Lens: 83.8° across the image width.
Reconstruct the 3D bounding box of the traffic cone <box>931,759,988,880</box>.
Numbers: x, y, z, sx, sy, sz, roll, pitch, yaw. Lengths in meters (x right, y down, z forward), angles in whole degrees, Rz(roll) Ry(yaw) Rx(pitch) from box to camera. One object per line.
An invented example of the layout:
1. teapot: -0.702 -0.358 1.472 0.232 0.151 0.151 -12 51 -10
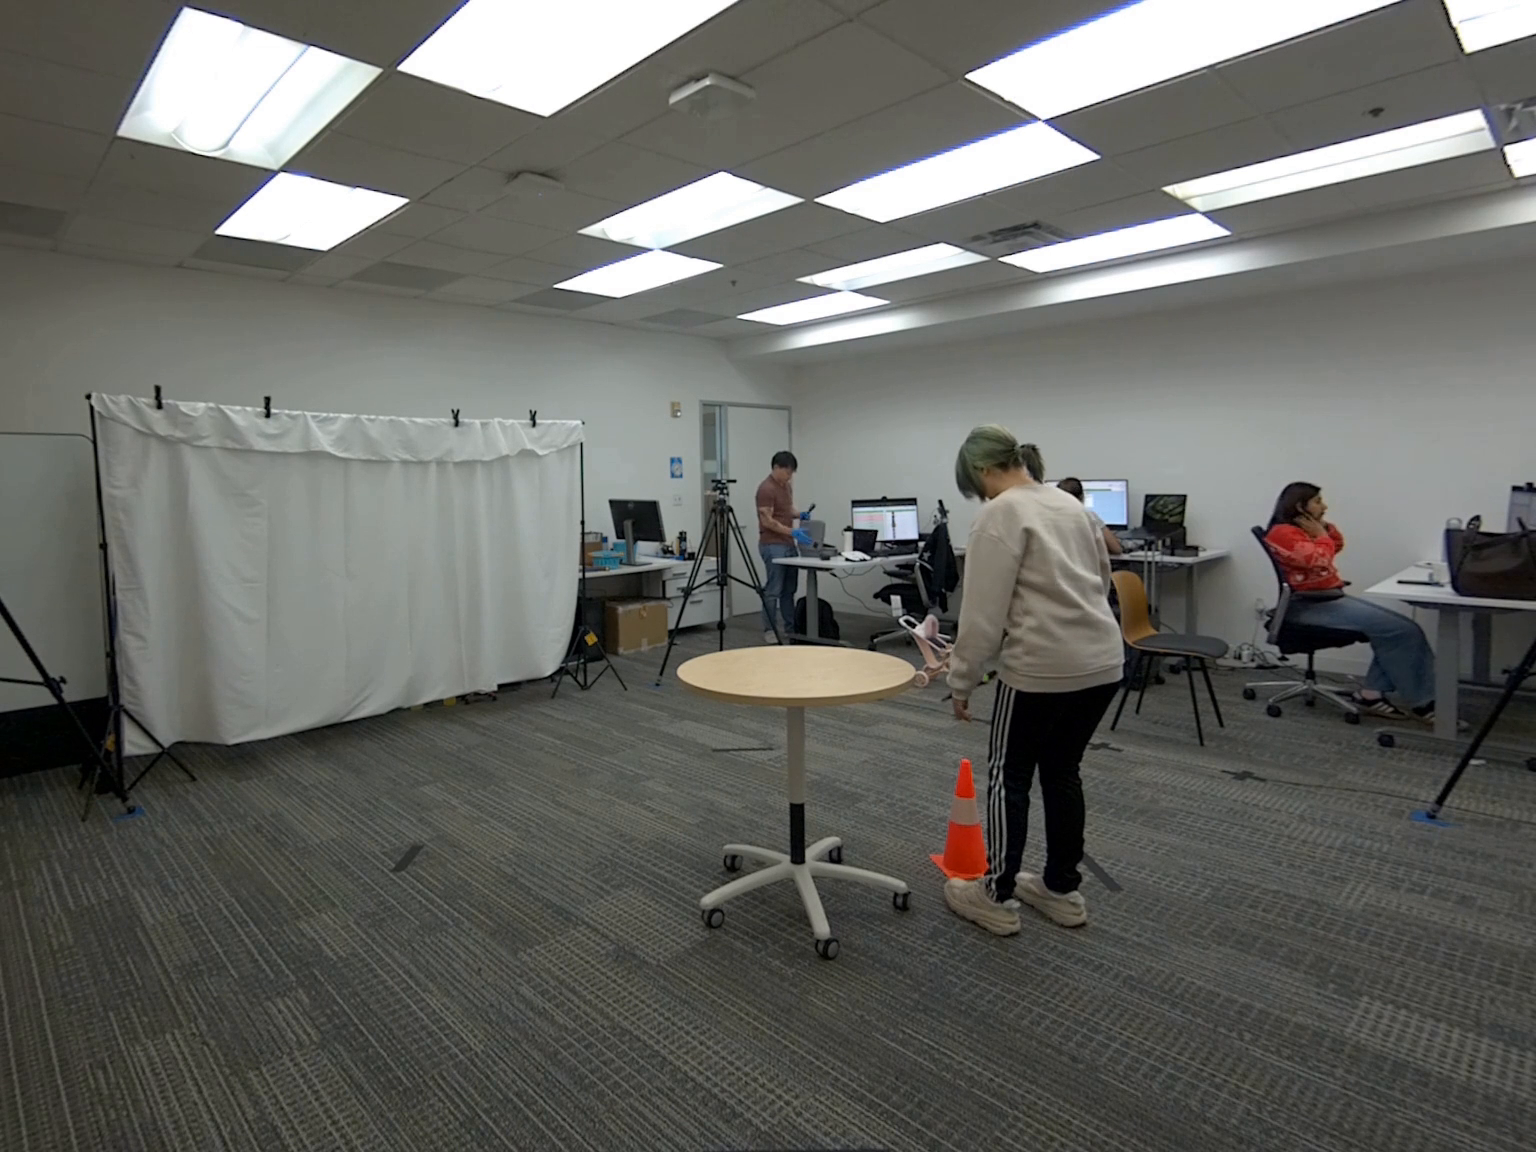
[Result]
1. traffic cone: 0.717 0.857 3.049 0.203 0.382 0.206 0 5 -10
